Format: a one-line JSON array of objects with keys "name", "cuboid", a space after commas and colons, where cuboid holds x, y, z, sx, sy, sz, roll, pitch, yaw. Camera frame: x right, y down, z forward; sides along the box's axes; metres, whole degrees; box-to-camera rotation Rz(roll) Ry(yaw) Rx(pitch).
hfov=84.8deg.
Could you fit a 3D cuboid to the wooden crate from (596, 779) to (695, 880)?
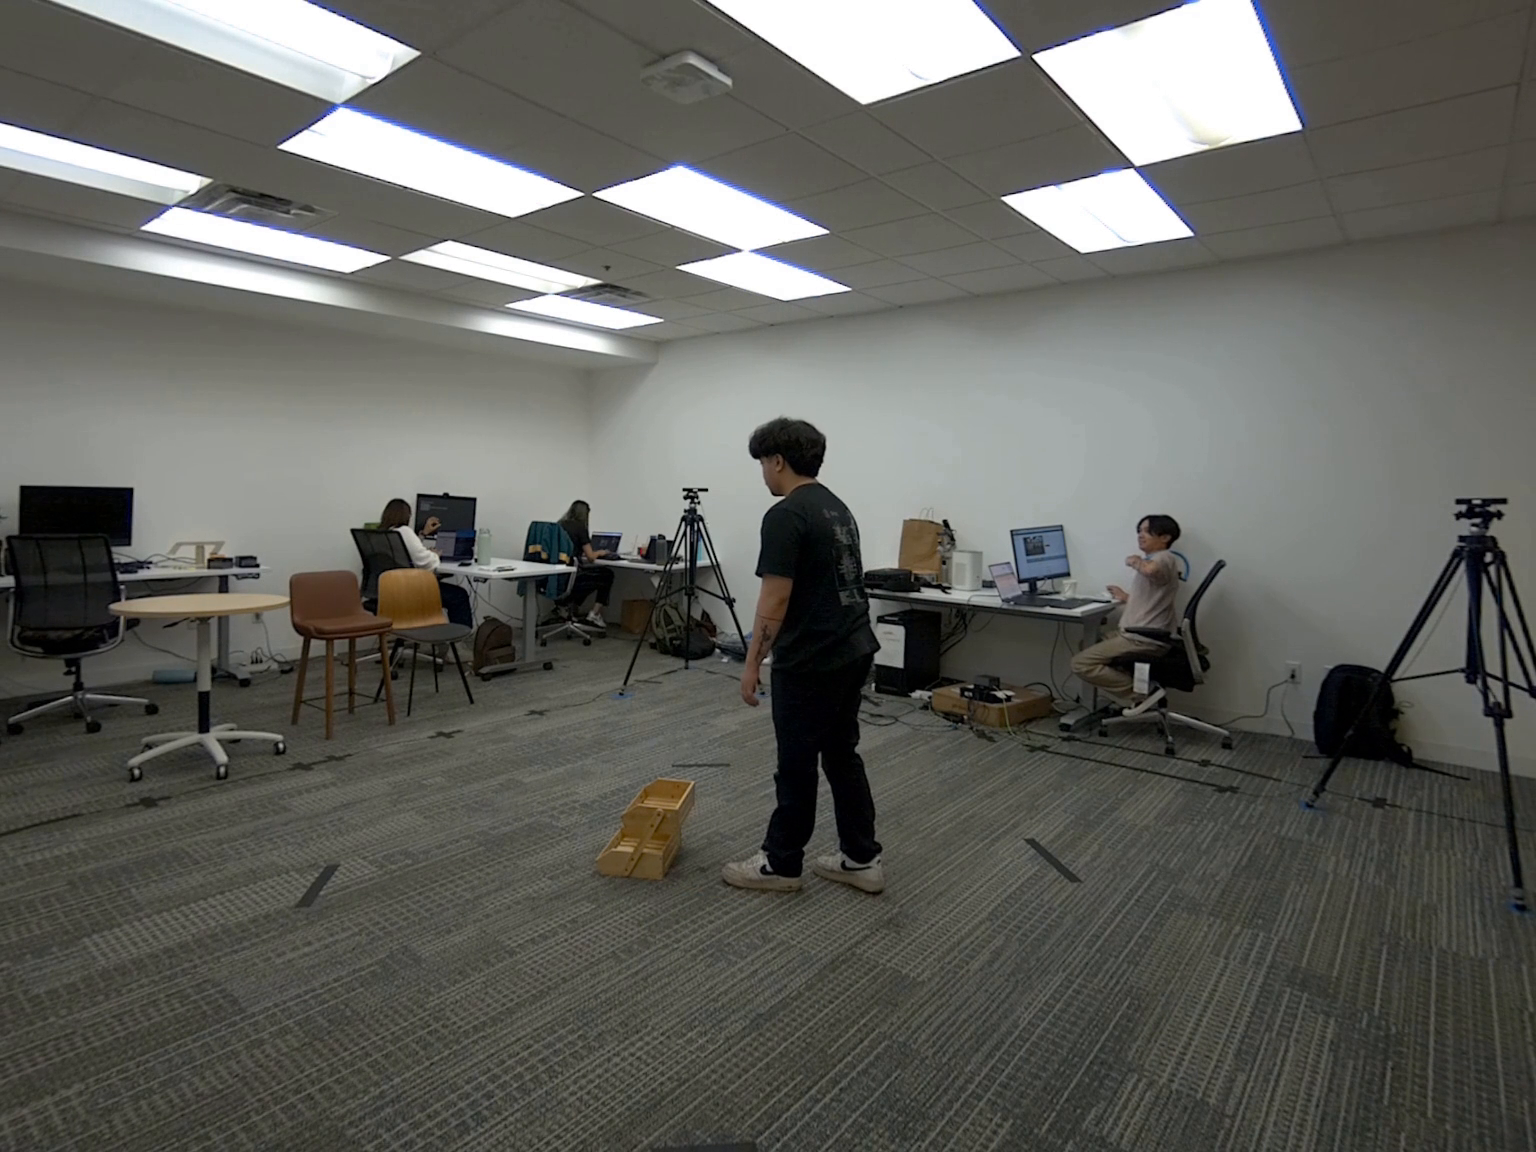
[{"name": "wooden crate", "cuboid": [-0.469, 0.932, 3.181, 0.305, 0.272, 0.322, 0, 4, 8]}]
